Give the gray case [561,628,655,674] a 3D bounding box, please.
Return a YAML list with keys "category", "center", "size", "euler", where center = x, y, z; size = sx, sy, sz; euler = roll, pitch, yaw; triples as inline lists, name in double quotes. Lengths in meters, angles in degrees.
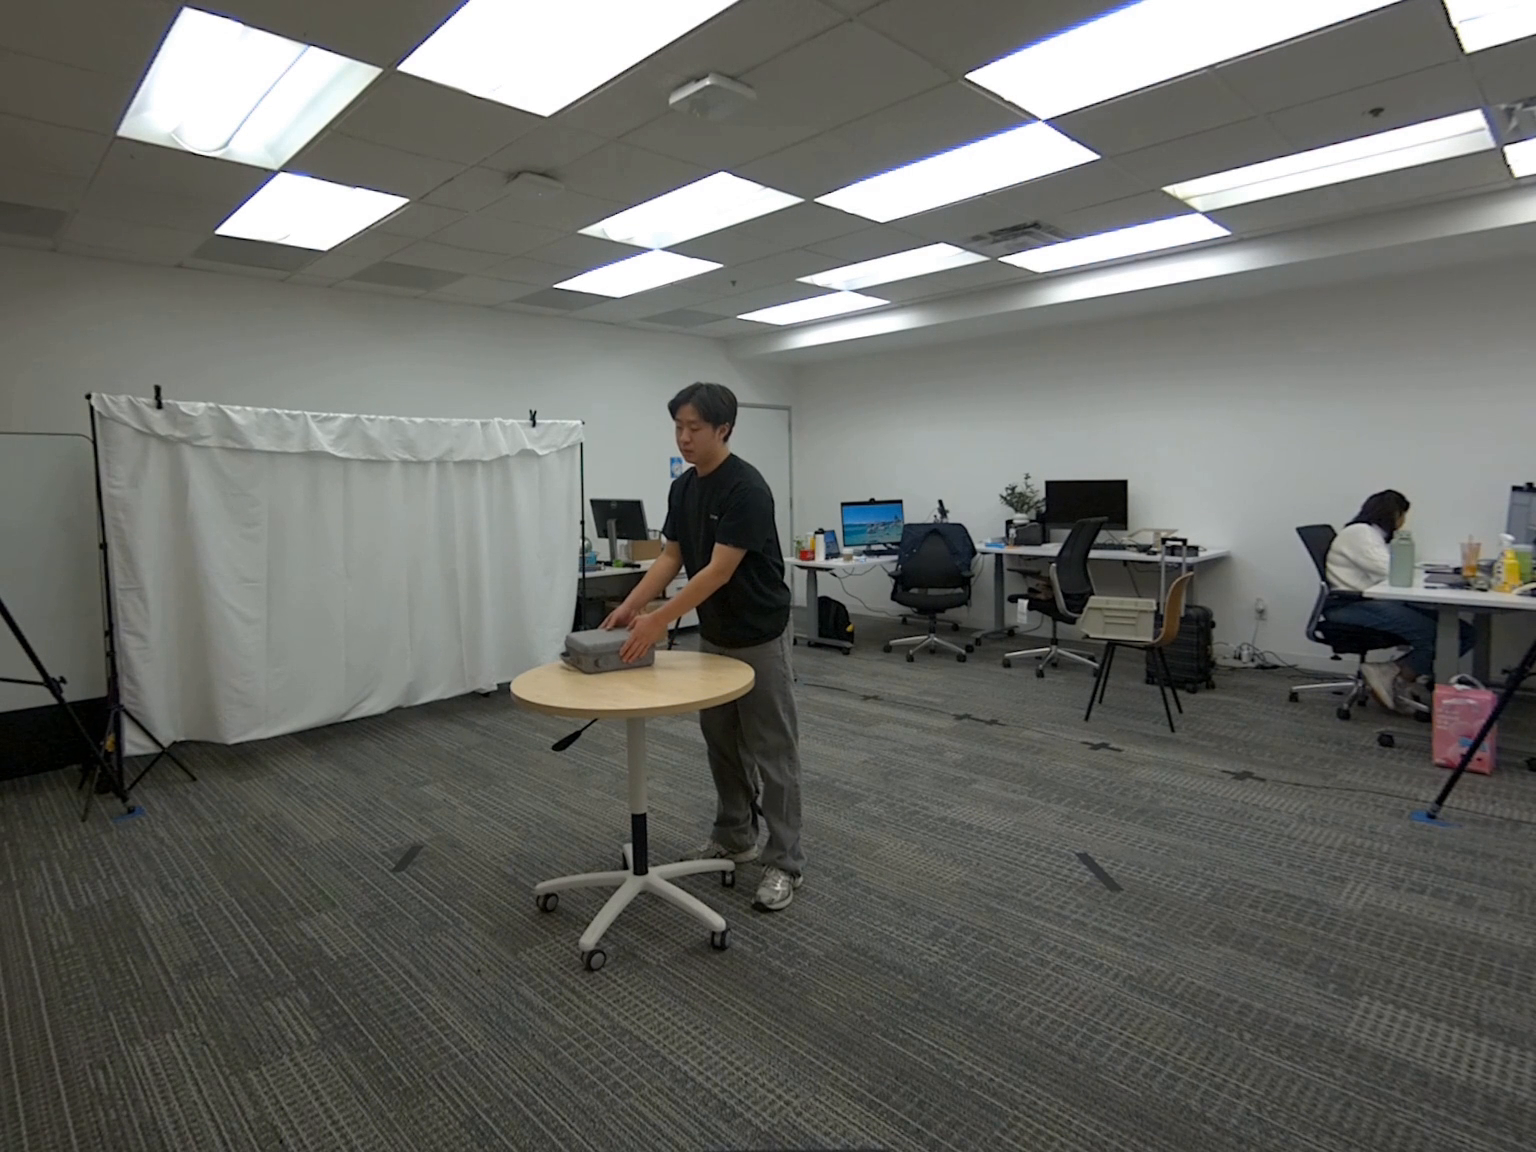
- category: "gray case"
  center: [-0.549, 0.252, 2.882]
  size: [0.281, 0.102, 0.270]
  euler: [-6, 8, -24]
